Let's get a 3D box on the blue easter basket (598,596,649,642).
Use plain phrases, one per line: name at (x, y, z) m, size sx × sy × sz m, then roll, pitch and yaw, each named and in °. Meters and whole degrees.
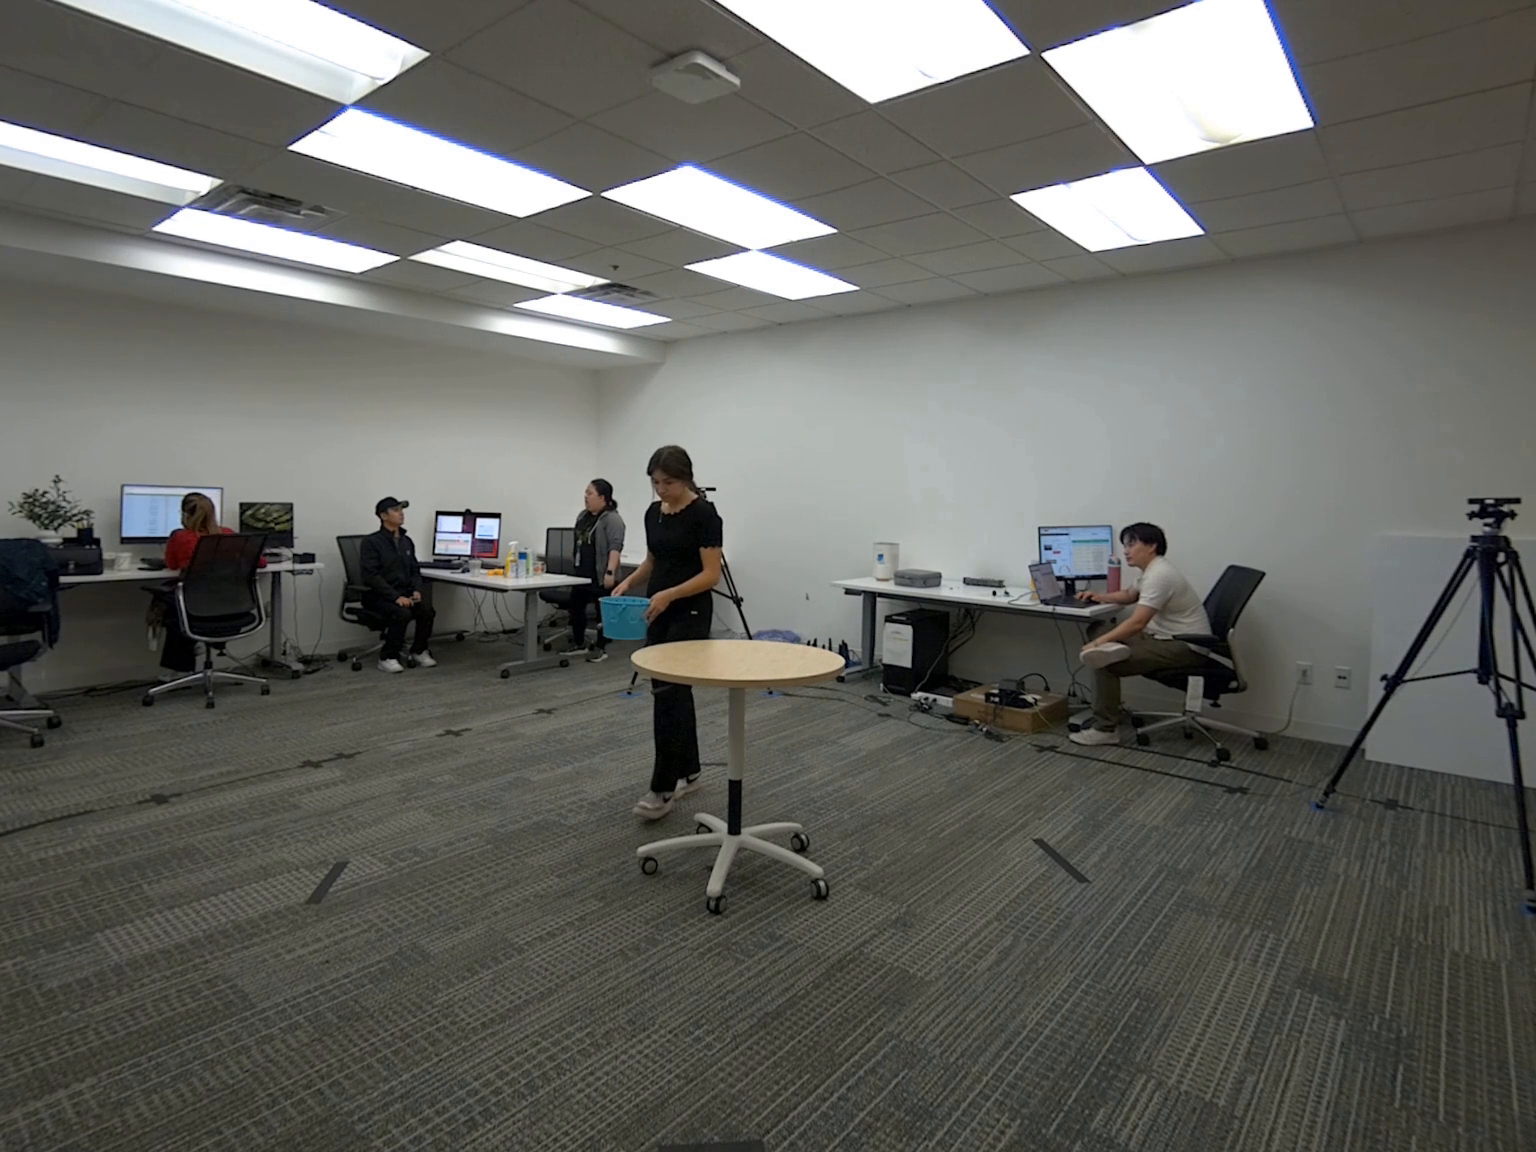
blue easter basket at (-0.611, 0.182, 3.582) m, size 0.243 × 0.155 × 0.244 m, roll 2°, pitch 3°, yaw -2°
